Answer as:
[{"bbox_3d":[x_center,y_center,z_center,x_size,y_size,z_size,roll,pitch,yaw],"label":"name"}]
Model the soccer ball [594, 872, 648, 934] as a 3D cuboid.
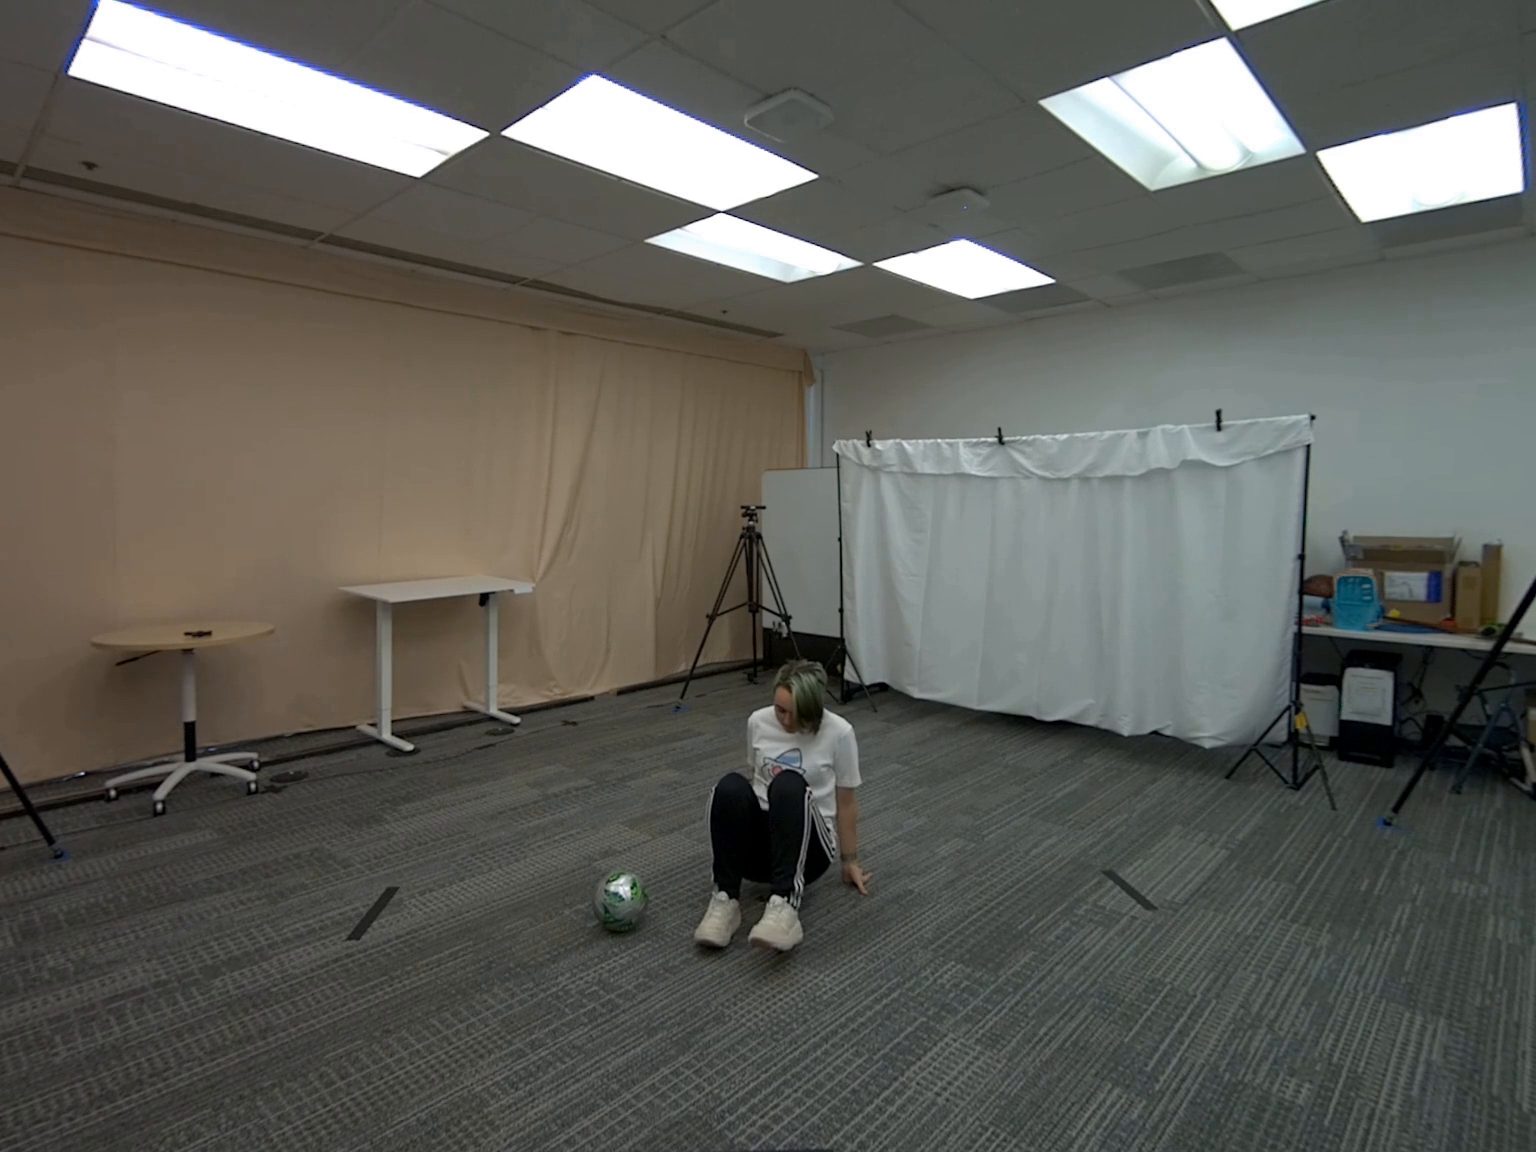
[{"bbox_3d":[-0.487,1.075,2.781,0.187,0.187,0.188,0,4,-2],"label":"soccer ball"}]
